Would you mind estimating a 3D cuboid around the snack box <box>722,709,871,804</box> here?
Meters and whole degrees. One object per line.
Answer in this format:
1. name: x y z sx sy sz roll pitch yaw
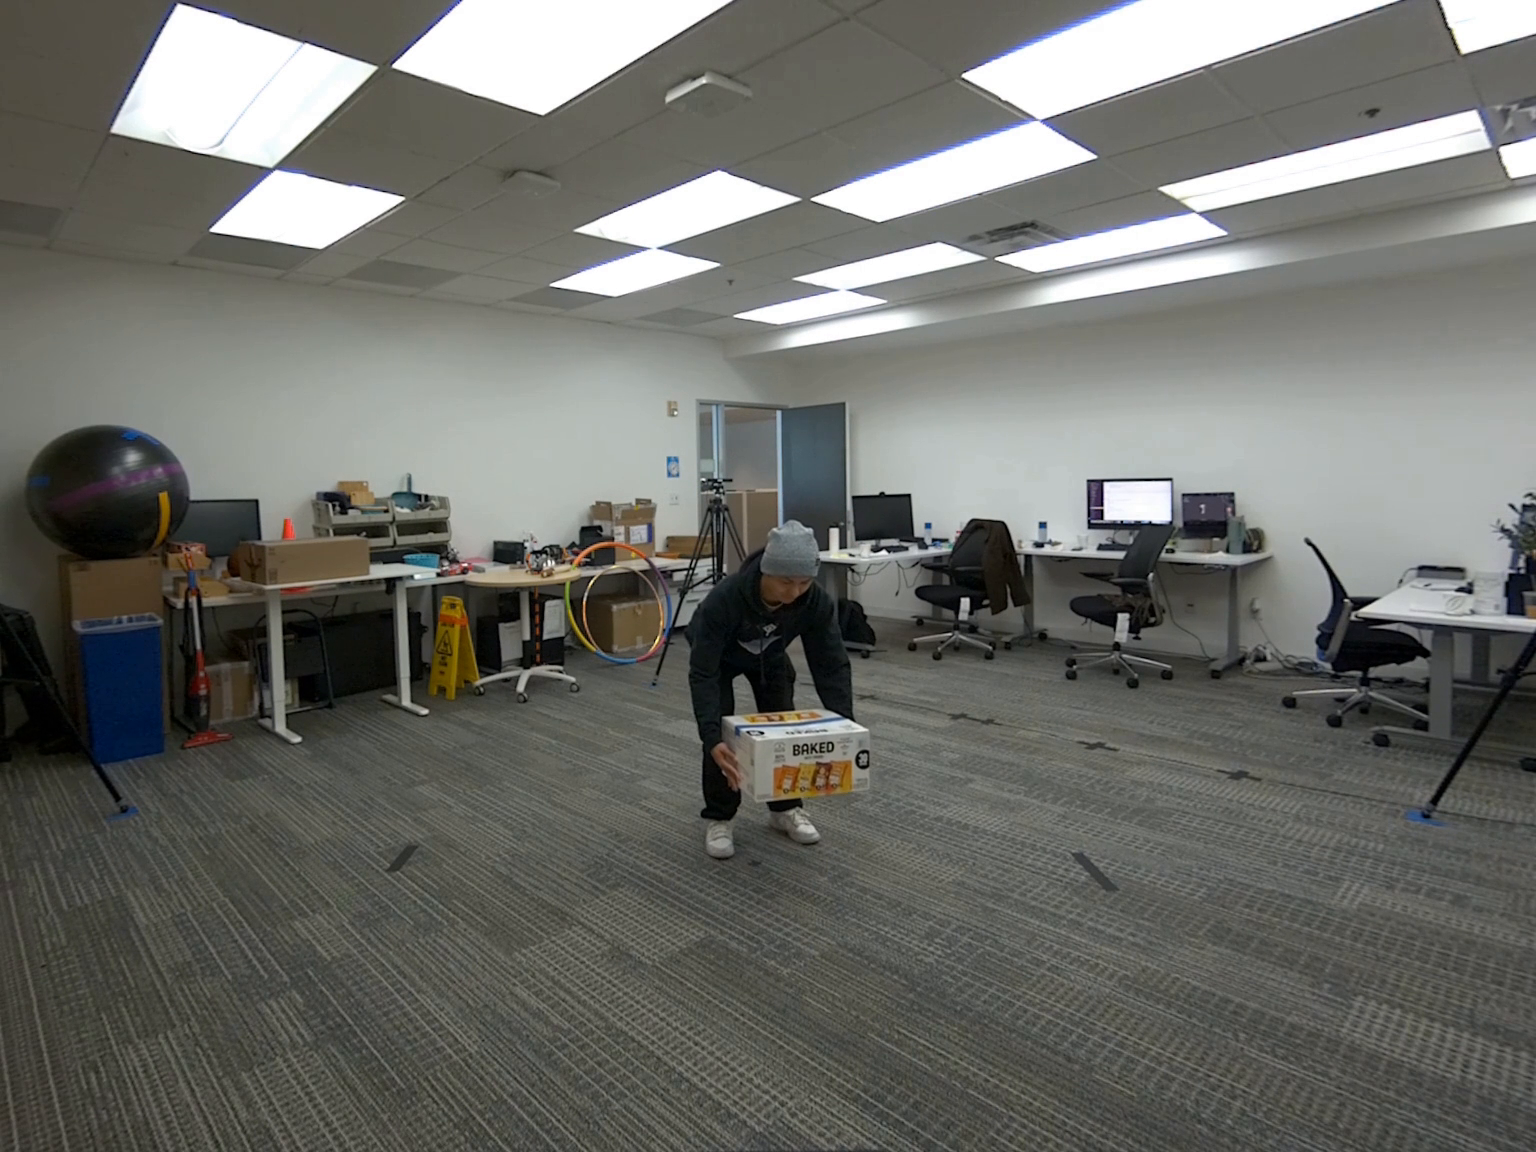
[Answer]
1. snack box: 0.084 0.604 2.906 0.398 0.205 0.347 -1 3 -20
